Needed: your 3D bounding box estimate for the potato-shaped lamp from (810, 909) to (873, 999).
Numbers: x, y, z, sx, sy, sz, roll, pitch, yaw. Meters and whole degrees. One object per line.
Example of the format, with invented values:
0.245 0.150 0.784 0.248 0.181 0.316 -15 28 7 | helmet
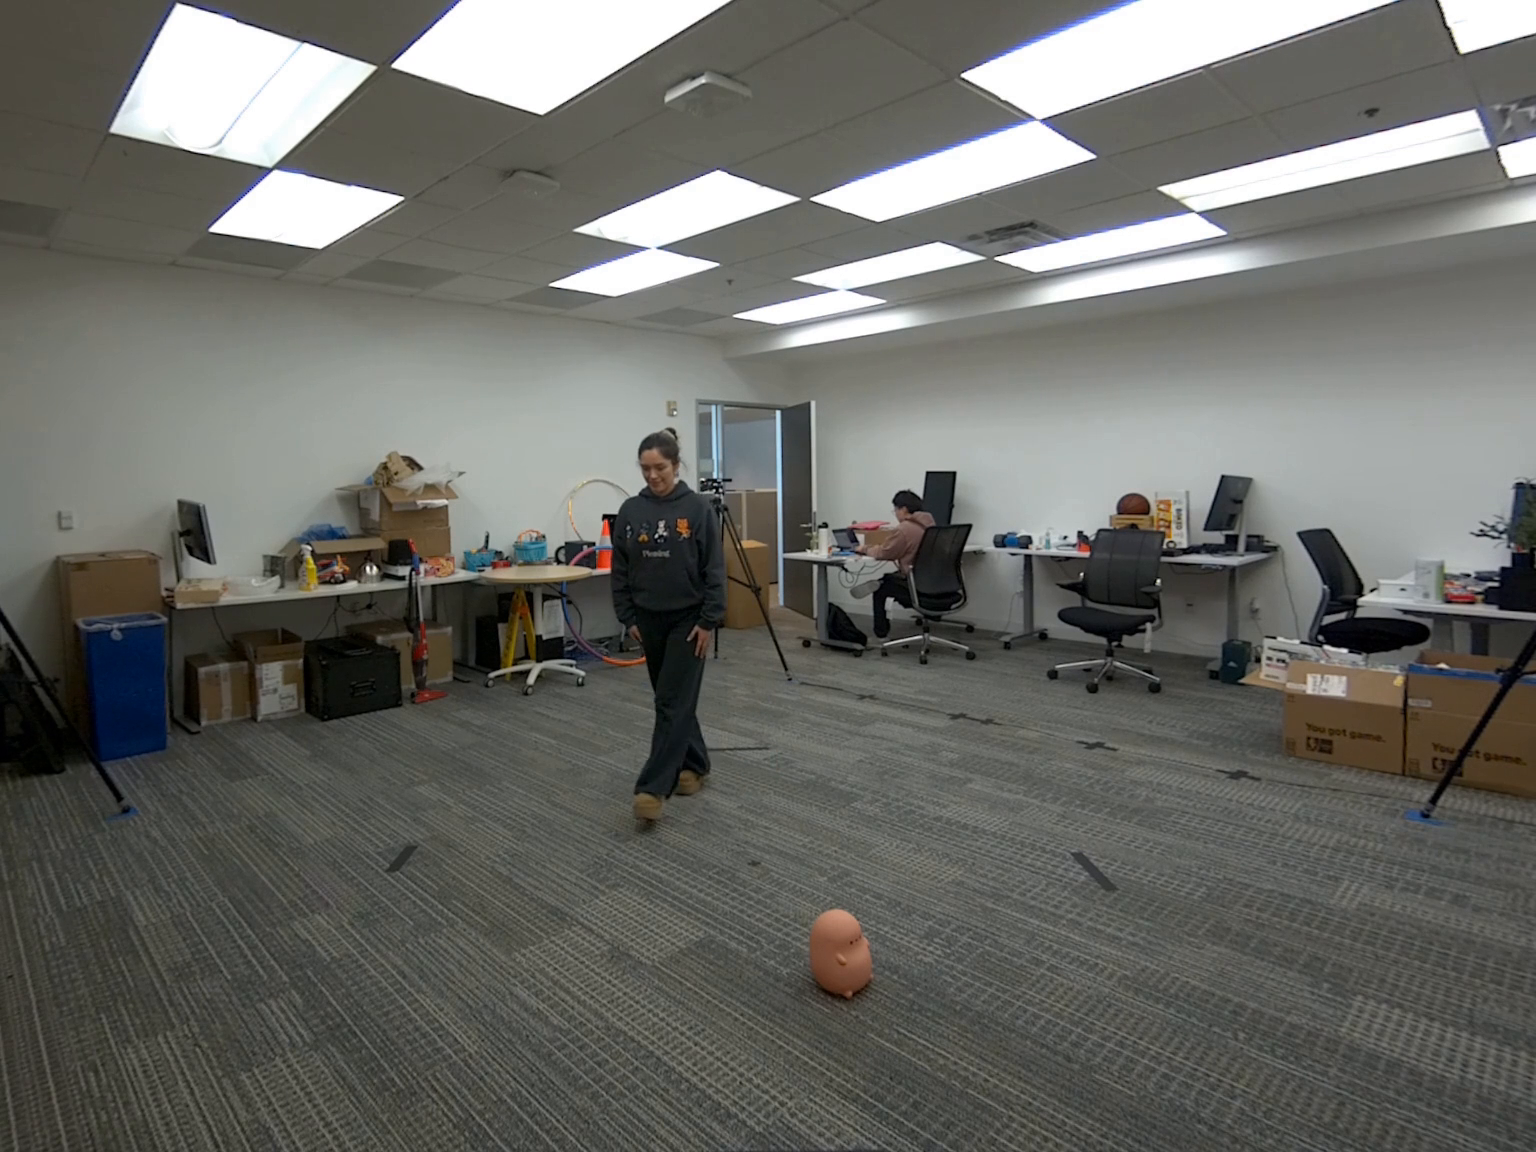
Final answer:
0.204 1.030 2.344 0.177 0.197 0.161 4 9 44 | potato-shaped lamp
